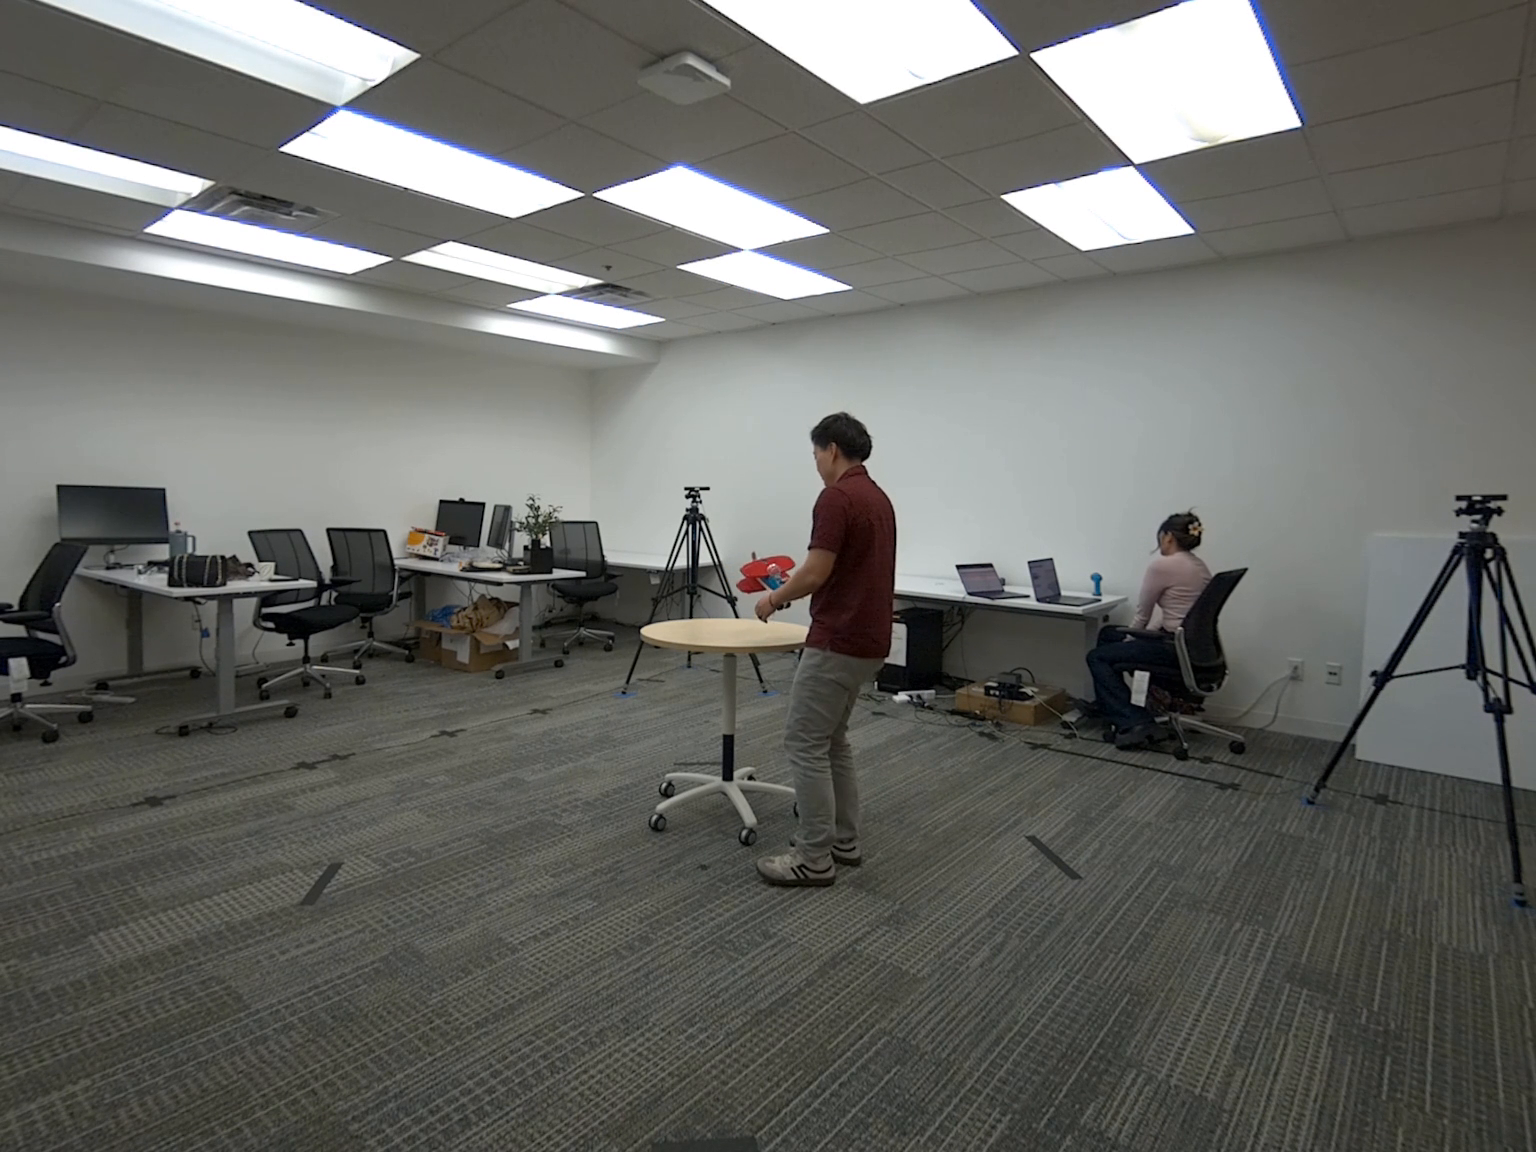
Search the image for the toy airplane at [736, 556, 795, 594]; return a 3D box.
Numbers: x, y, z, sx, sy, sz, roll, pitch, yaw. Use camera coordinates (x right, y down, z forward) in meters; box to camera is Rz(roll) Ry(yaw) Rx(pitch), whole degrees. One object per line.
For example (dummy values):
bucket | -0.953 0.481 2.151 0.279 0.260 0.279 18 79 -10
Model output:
toy airplane | 0.011 0.005 3.458 0.267 0.153 0.249 15 29 25
